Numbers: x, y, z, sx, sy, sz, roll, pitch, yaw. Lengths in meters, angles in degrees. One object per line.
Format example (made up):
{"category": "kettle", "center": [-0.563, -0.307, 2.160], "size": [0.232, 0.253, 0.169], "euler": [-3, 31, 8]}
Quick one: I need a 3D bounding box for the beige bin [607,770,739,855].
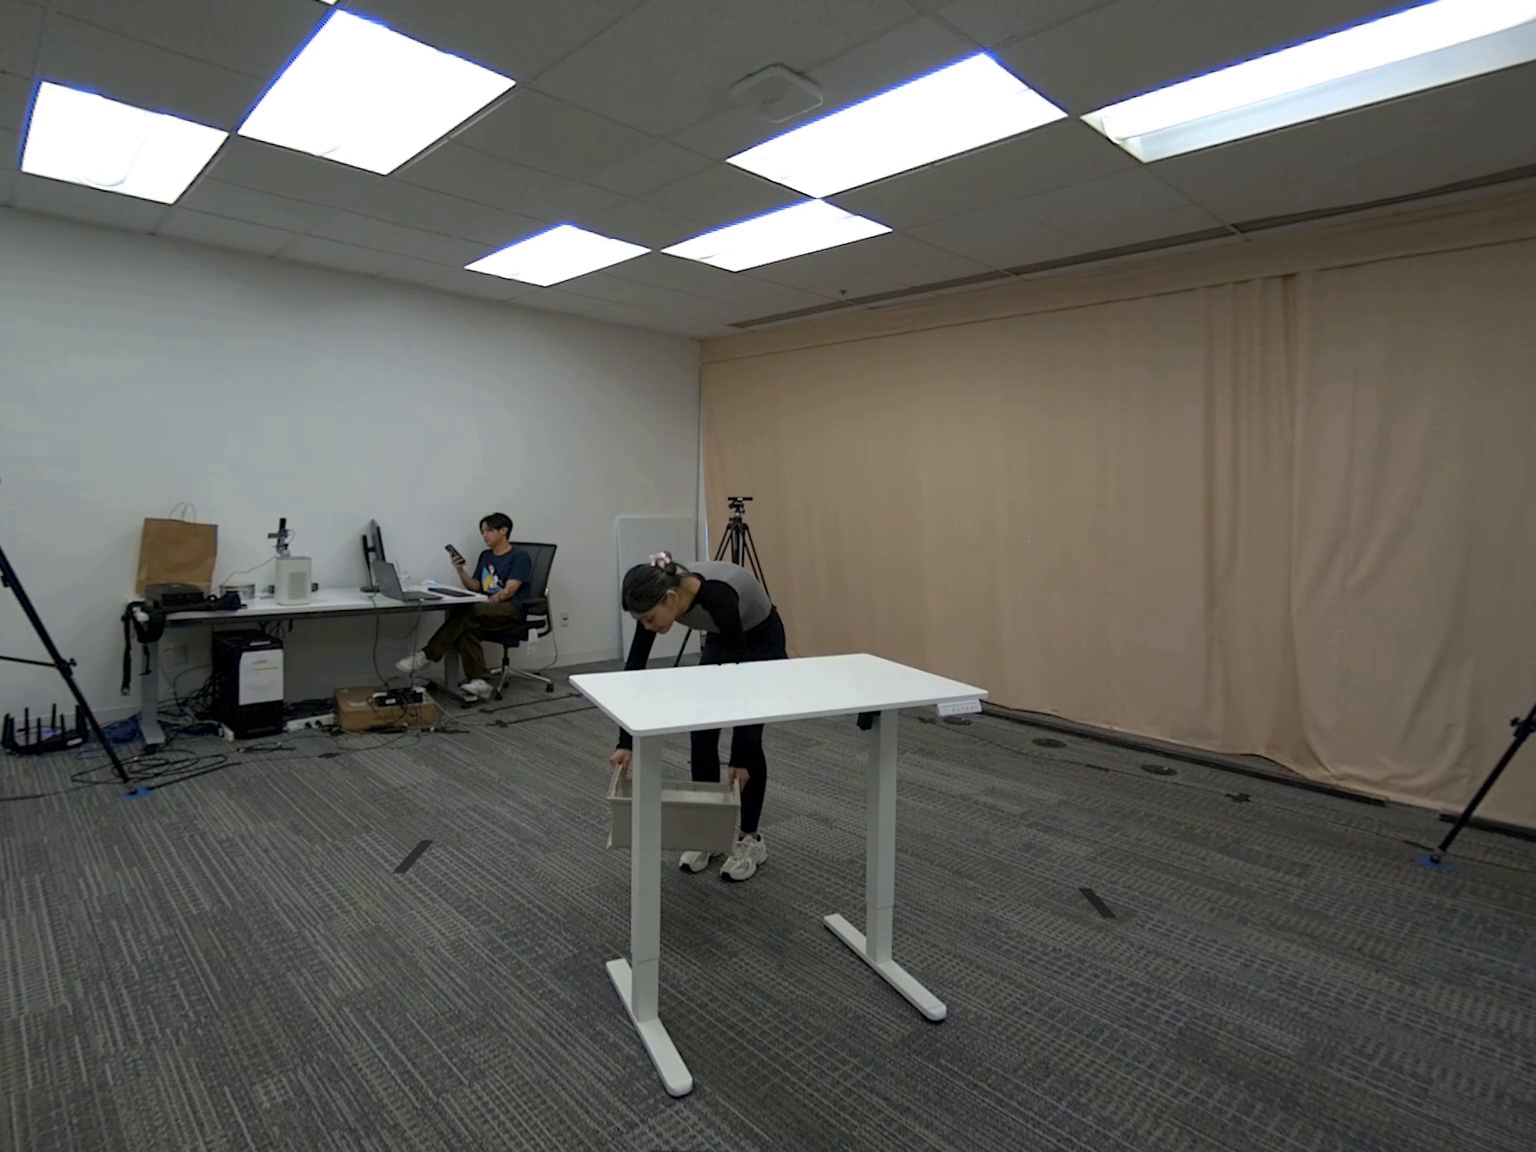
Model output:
{"category": "beige bin", "center": [-0.315, 0.770, 2.843], "size": [0.422, 0.188, 0.380], "euler": [4, 9, -2]}
